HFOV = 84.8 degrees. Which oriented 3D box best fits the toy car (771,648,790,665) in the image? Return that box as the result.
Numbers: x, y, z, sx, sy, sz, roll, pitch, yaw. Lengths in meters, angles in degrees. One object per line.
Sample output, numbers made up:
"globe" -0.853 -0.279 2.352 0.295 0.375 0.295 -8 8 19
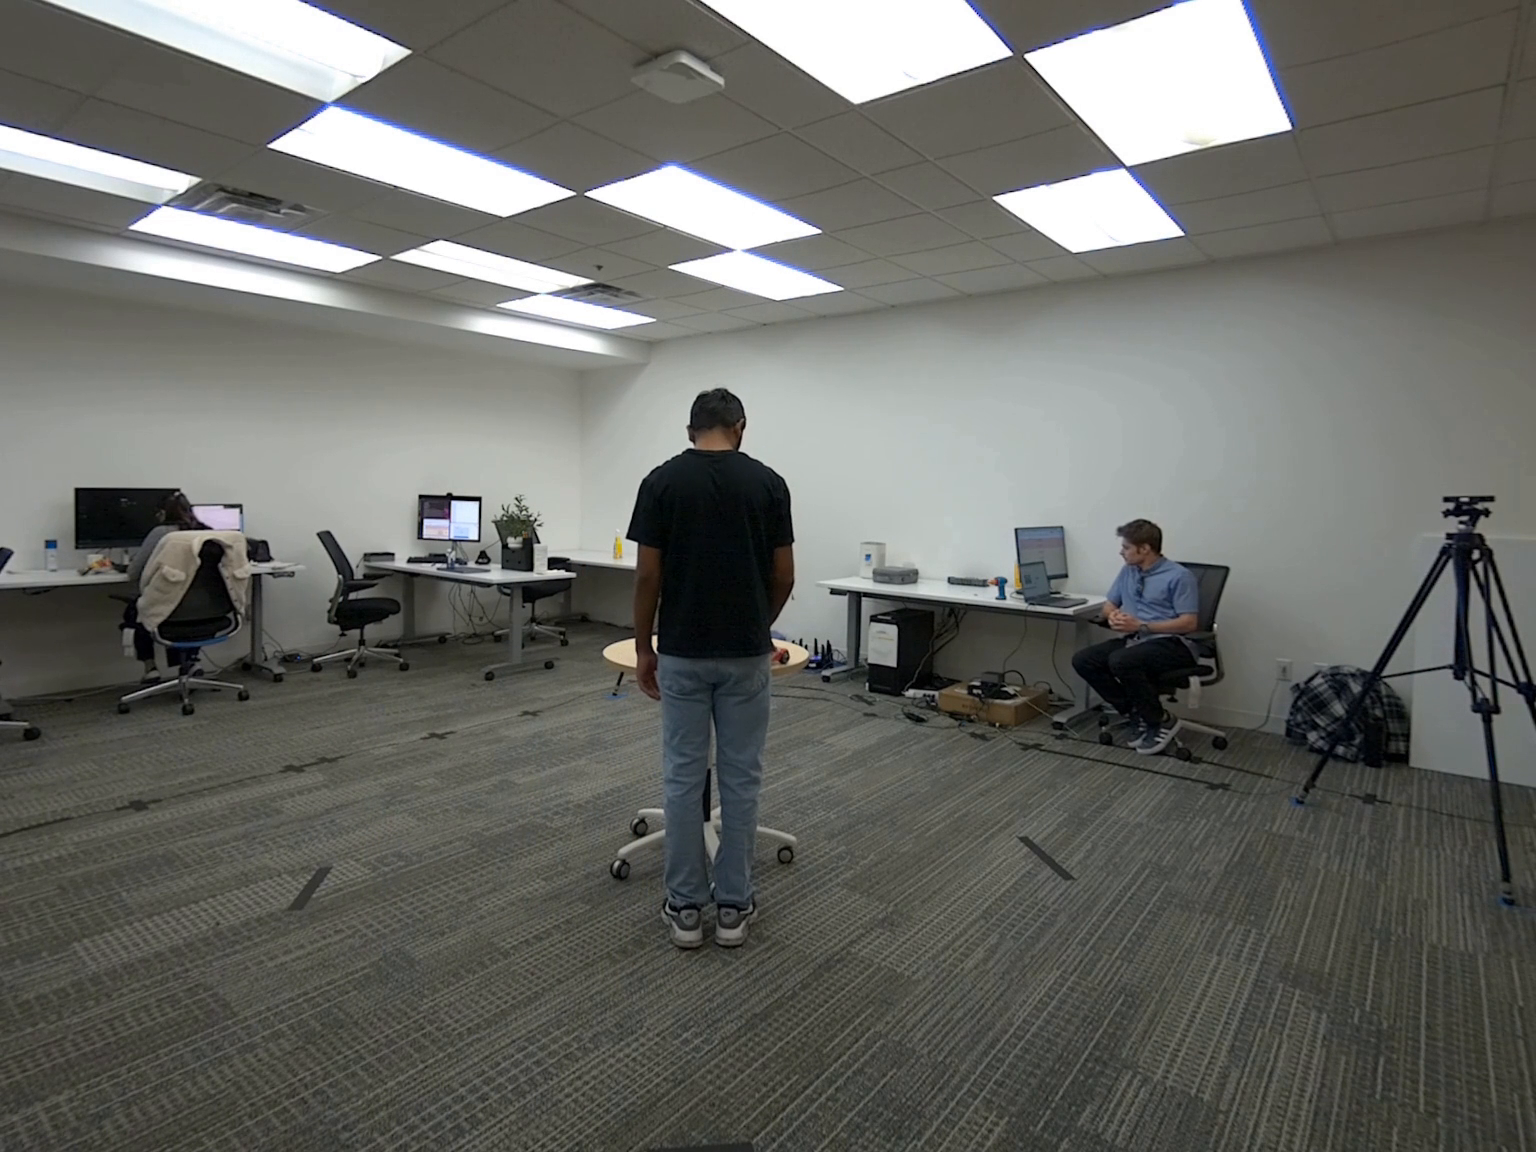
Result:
"toy car" -0.045 0.276 2.925 0.135 0.083 0.245 4 -4 39
